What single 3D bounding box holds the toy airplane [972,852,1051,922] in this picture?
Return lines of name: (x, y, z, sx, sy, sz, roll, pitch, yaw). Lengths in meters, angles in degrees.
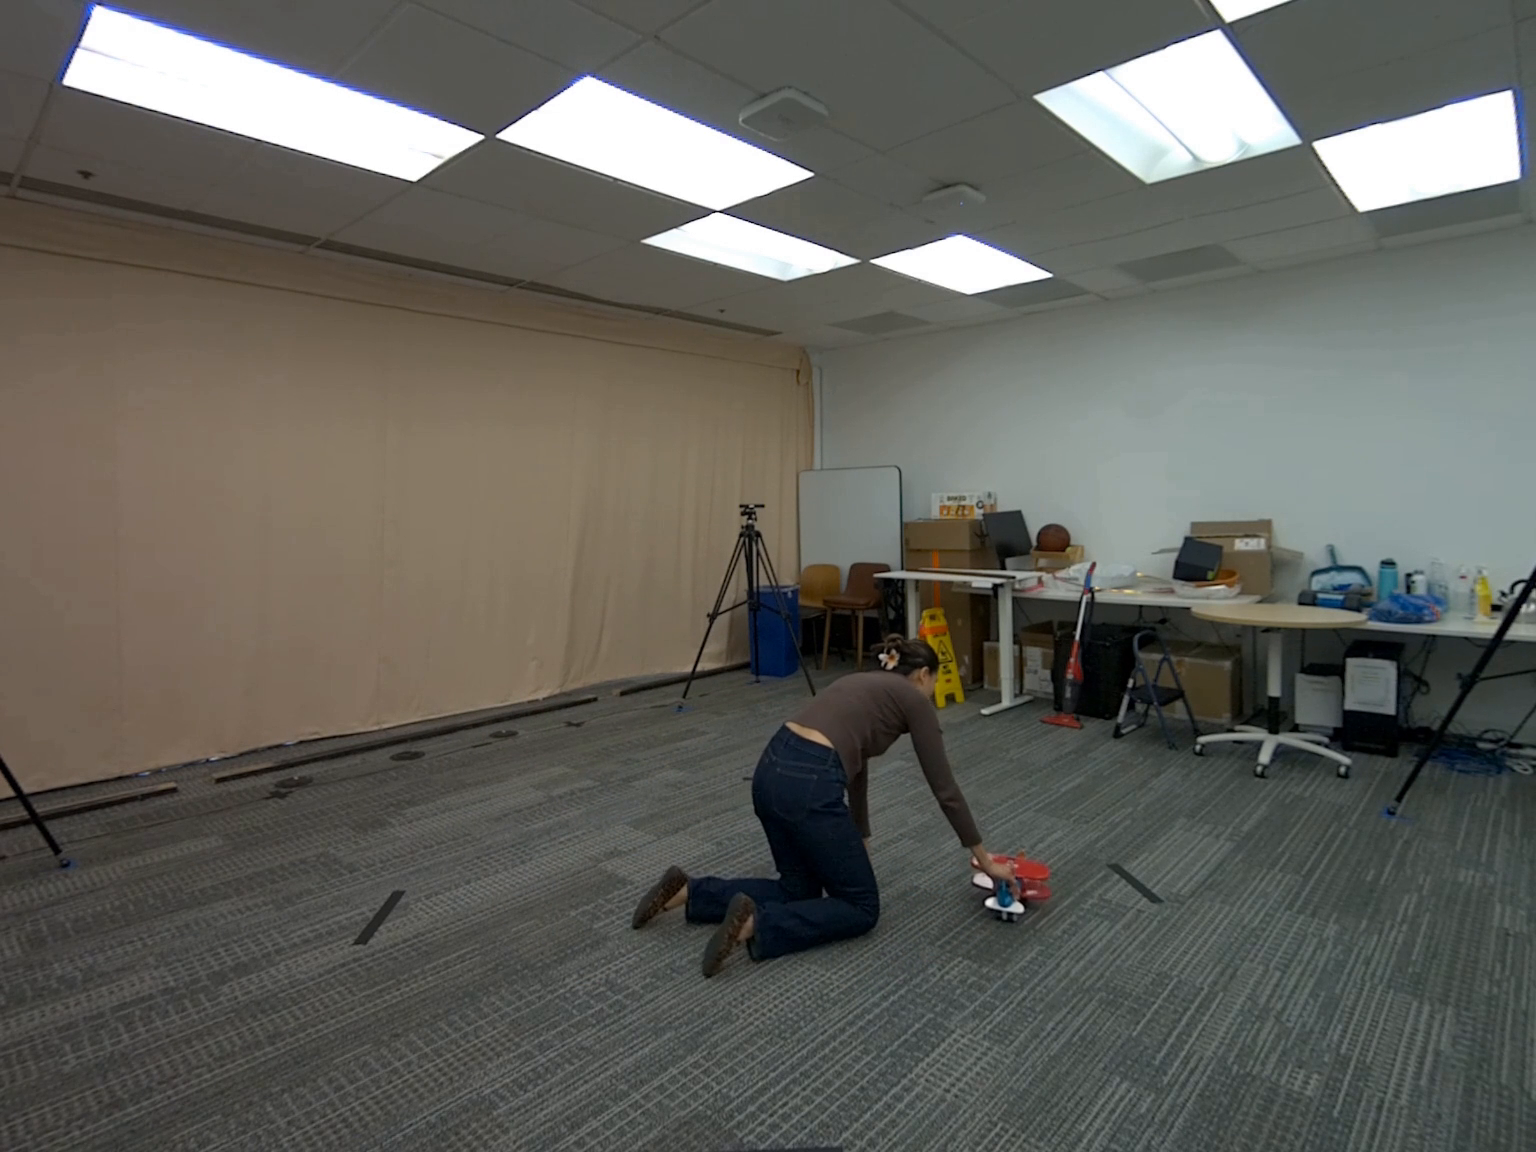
toy airplane: (0.848, 1.064, 2.855, 0.250, 0.156, 0.260, -1, 3, -3)
